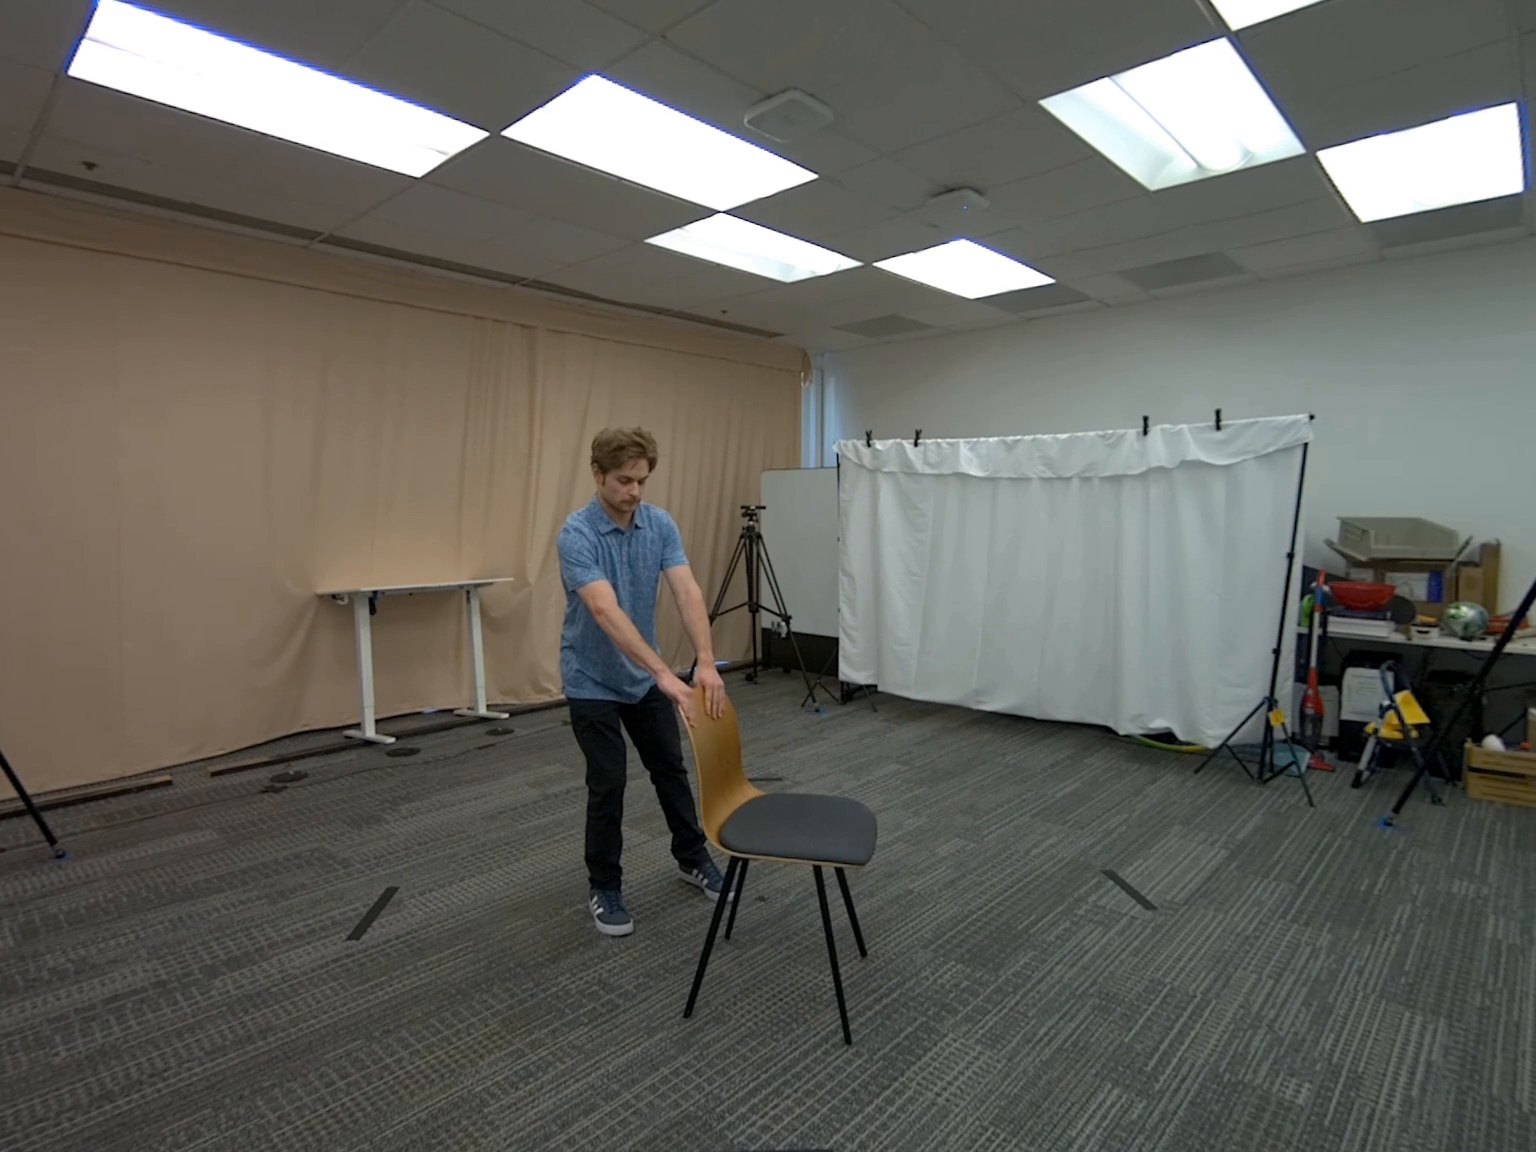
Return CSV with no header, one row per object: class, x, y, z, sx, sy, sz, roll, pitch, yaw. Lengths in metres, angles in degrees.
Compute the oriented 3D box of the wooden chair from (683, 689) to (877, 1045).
wooden chair,0.050,0.767,2.412,0.531,0.876,0.471,-4,3,15
